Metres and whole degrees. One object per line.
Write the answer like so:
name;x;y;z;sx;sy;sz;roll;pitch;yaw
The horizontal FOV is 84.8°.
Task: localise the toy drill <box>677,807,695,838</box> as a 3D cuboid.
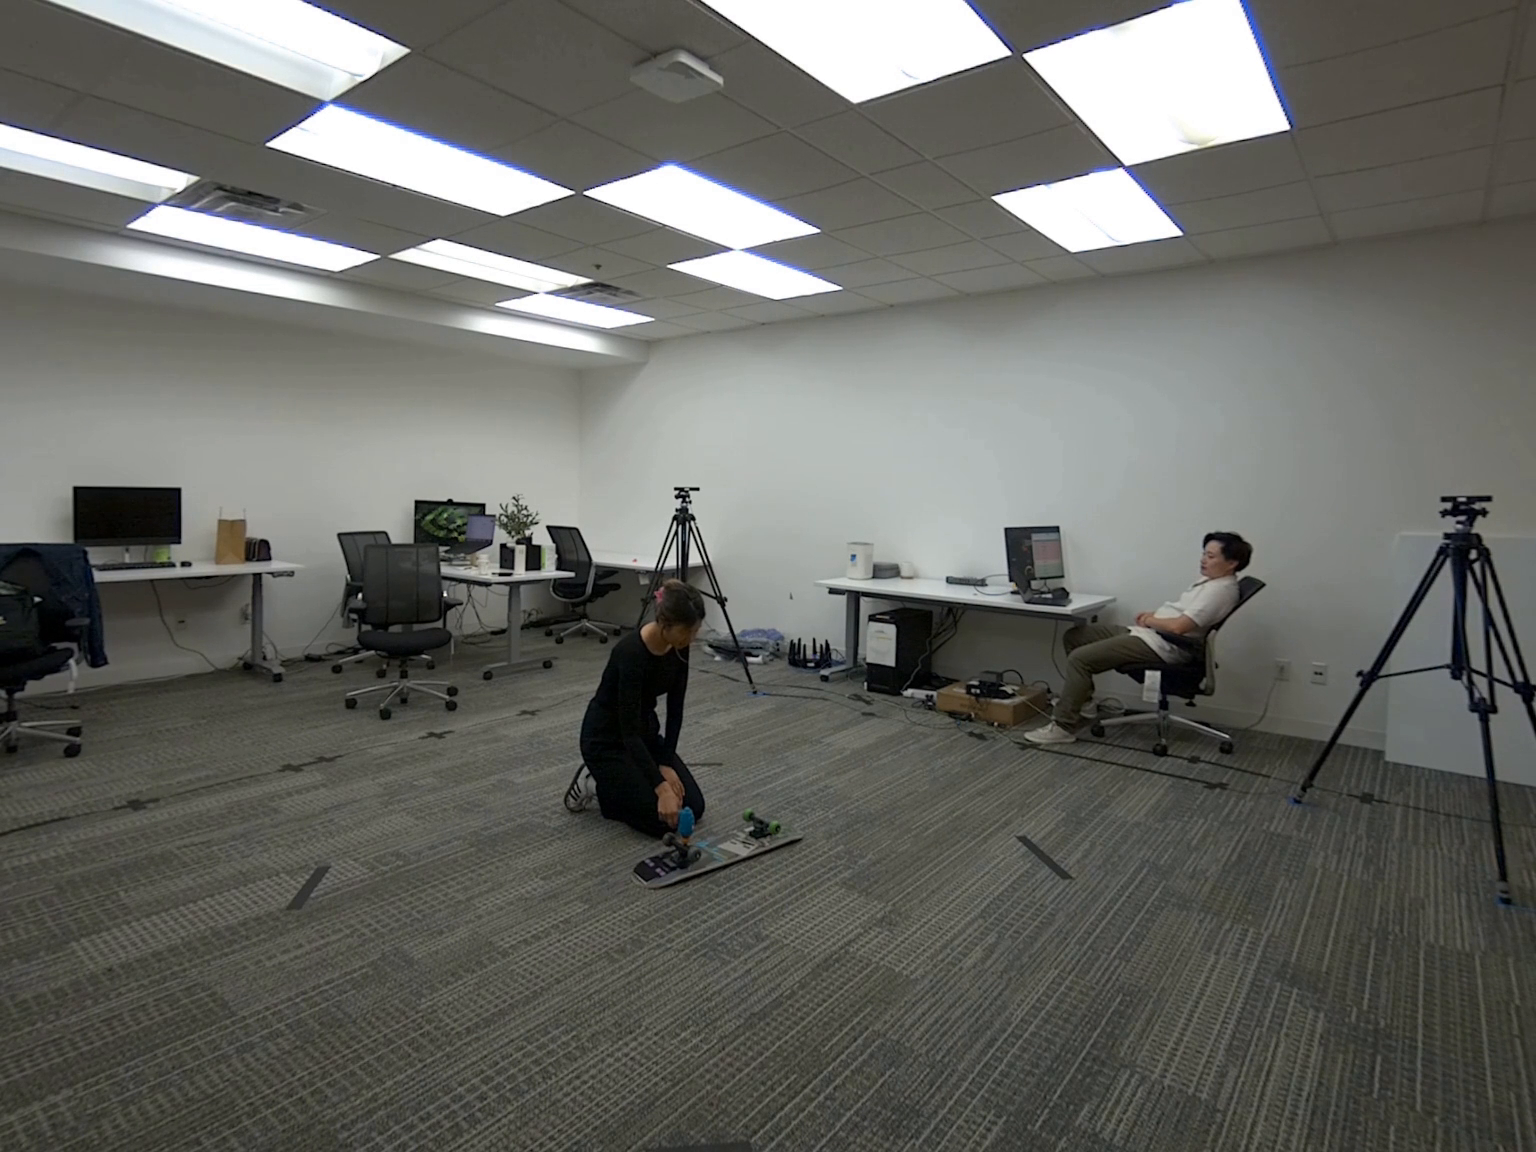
toy drill;-0.346;0.926;3.149;0.151;0.168;0.060;11;14;36
